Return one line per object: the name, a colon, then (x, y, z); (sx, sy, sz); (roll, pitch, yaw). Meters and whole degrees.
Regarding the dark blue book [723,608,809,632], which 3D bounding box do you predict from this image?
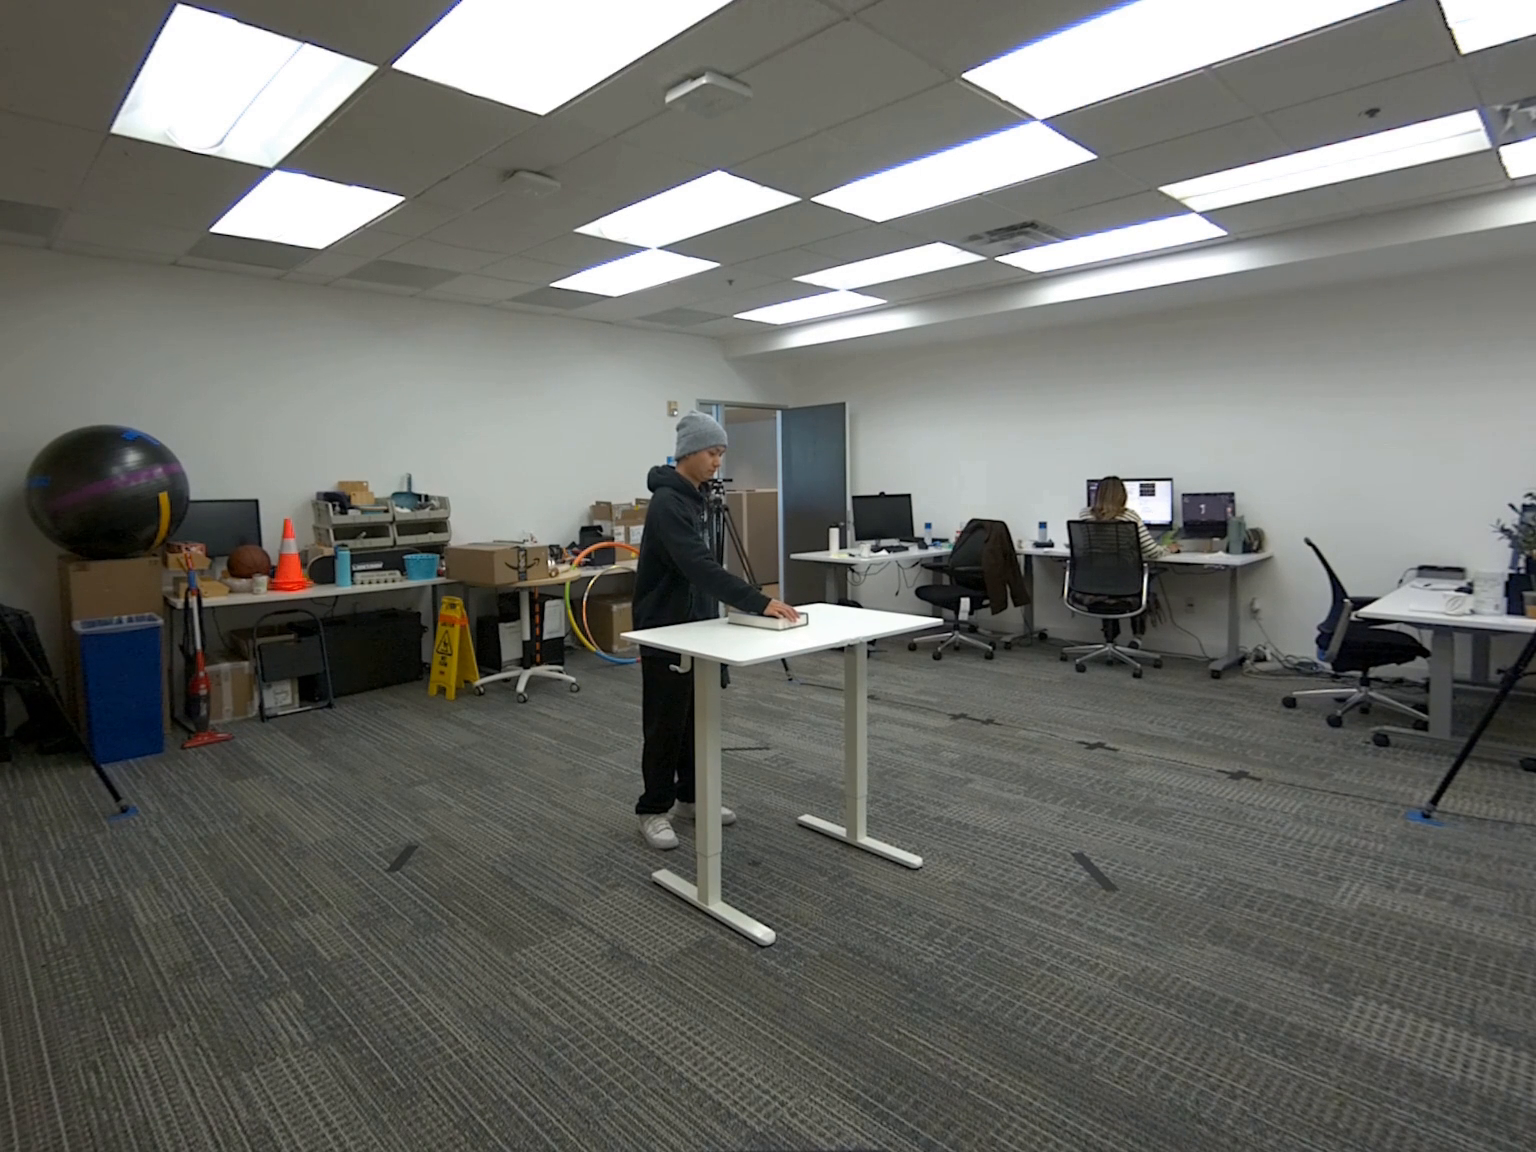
dark blue book: (0.000, 0.151, 3.022); (0.253, 0.045, 0.159); (6, 9, 42)
